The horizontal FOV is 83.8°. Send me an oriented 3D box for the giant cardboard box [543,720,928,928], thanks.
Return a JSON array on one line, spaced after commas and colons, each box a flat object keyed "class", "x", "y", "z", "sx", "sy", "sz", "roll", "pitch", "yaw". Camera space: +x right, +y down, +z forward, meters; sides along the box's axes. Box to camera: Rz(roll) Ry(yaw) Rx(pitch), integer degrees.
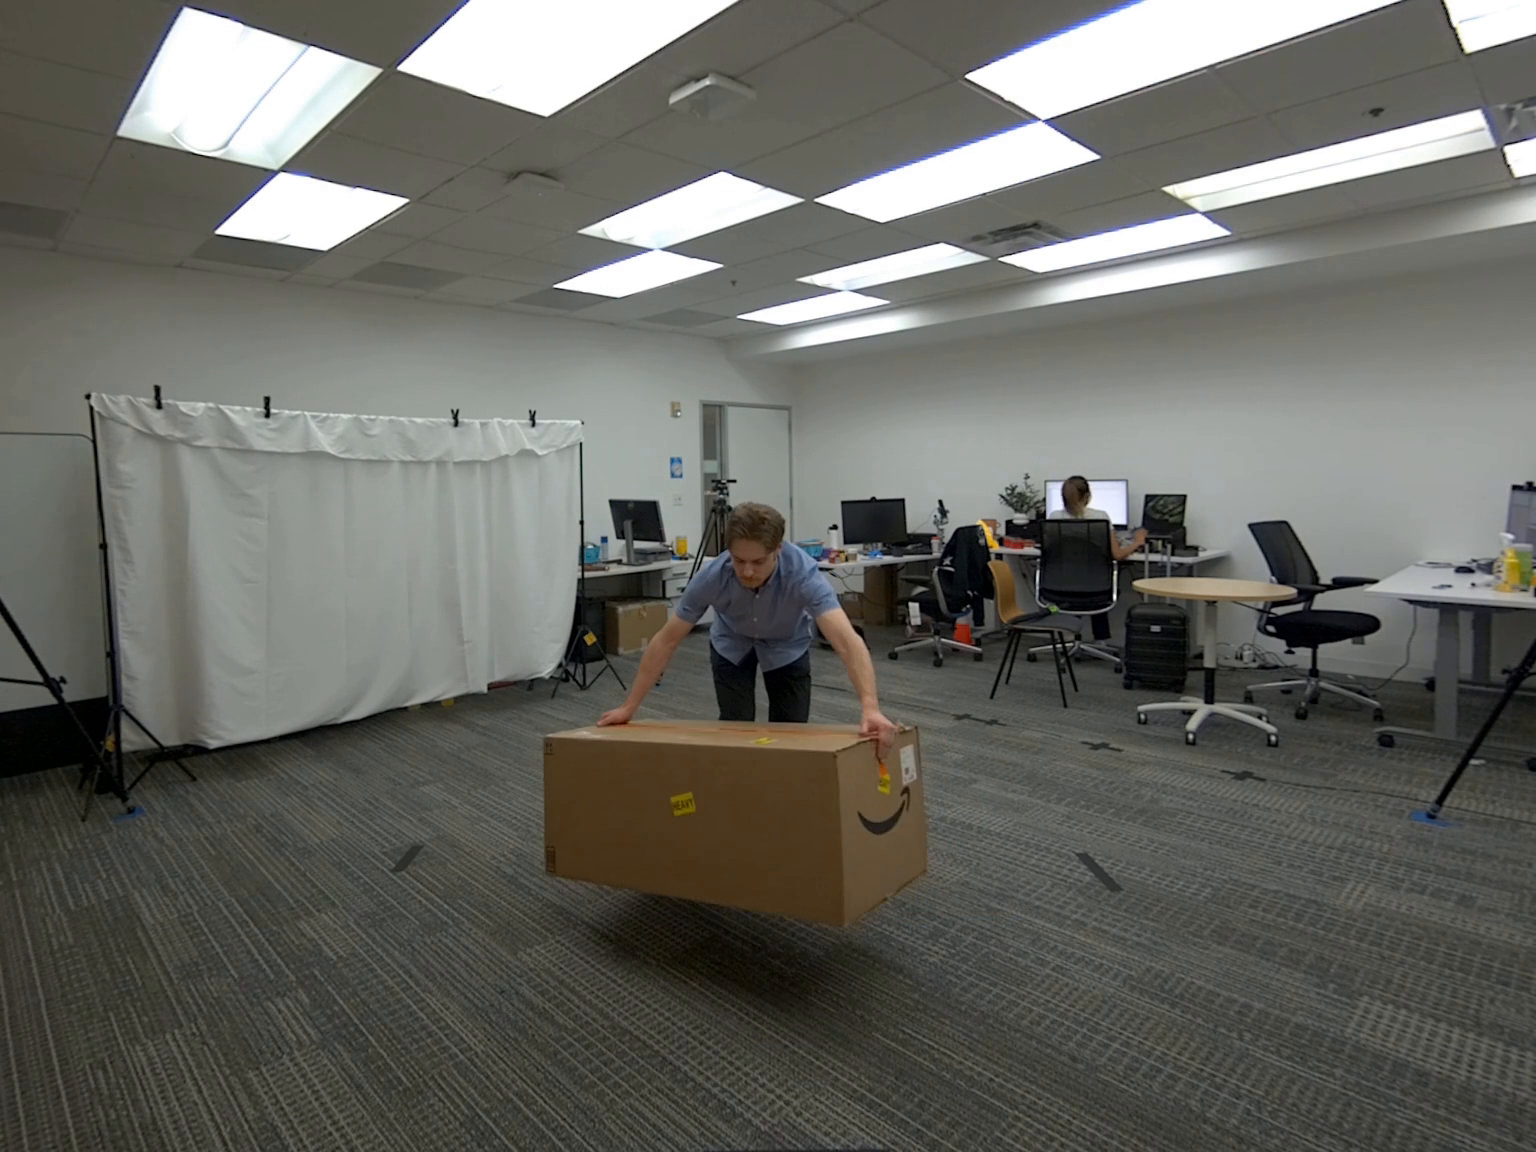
[{"class": "giant cardboard box", "x": -0.102, "y": 0.683, "z": 2.589, "sx": 1.051, "sy": 0.450, "sz": 0.566, "roll": -6, "pitch": -8, "yaw": 32}]
